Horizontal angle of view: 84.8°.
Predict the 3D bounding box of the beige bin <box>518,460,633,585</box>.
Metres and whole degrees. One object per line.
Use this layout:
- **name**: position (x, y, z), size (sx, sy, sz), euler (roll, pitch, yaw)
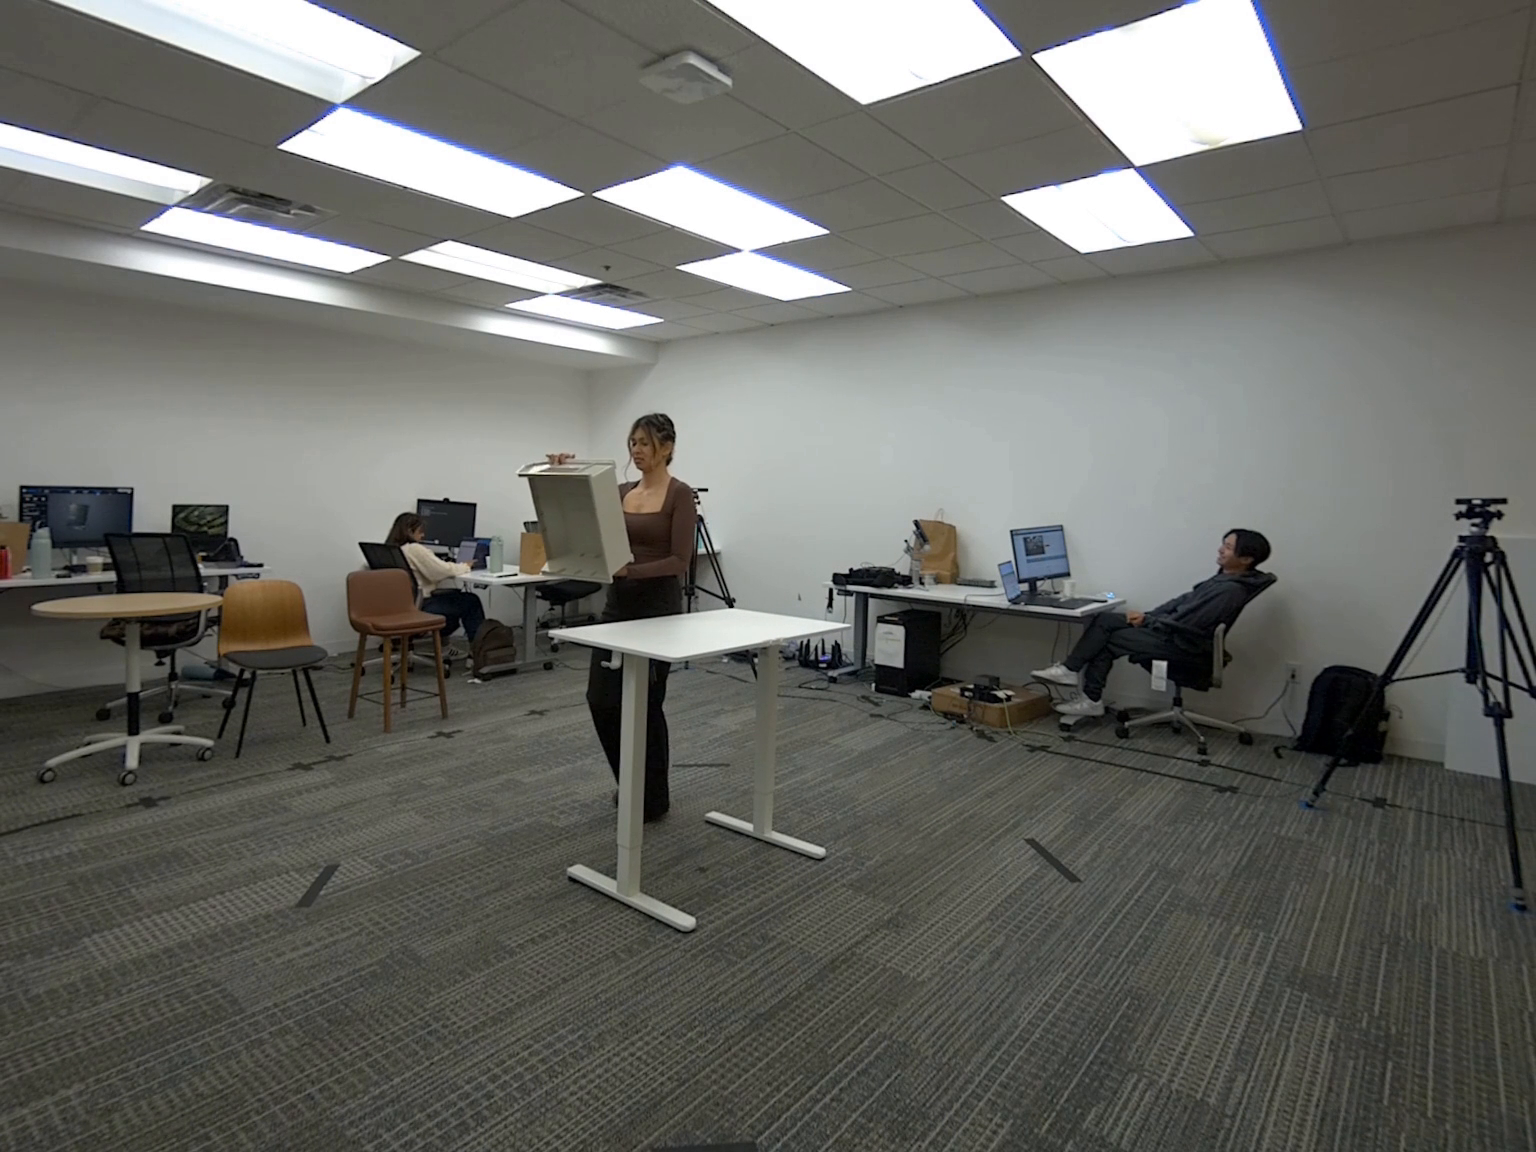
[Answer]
- **beige bin**: position (-0.743, -0.217, 3.206), size (0.387, 0.413, 0.188), euler (4, 24, 23)
